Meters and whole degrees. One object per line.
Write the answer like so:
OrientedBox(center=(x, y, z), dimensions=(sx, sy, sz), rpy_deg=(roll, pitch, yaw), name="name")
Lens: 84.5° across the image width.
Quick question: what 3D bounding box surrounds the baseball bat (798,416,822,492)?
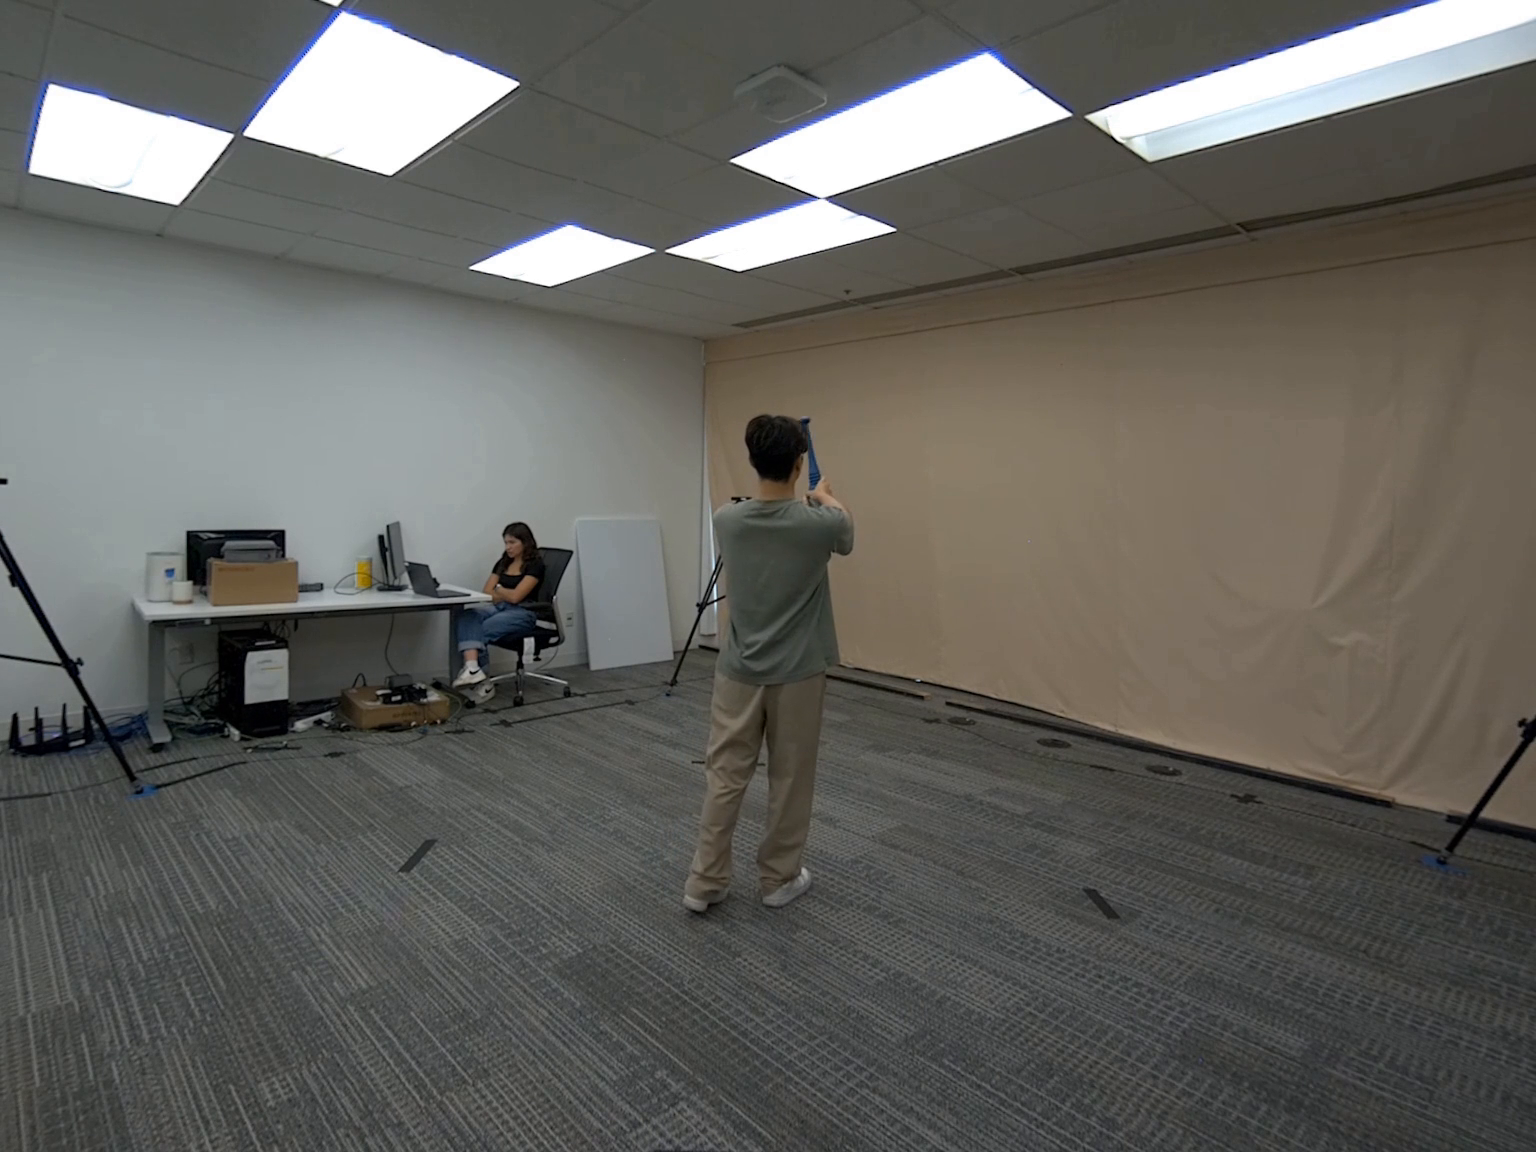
OrientedBox(center=(0.193, -0.365, 3.333), dimensions=(0.089, 0.544, 0.089), rpy_deg=(-10, -3, -2), name="baseball bat")
